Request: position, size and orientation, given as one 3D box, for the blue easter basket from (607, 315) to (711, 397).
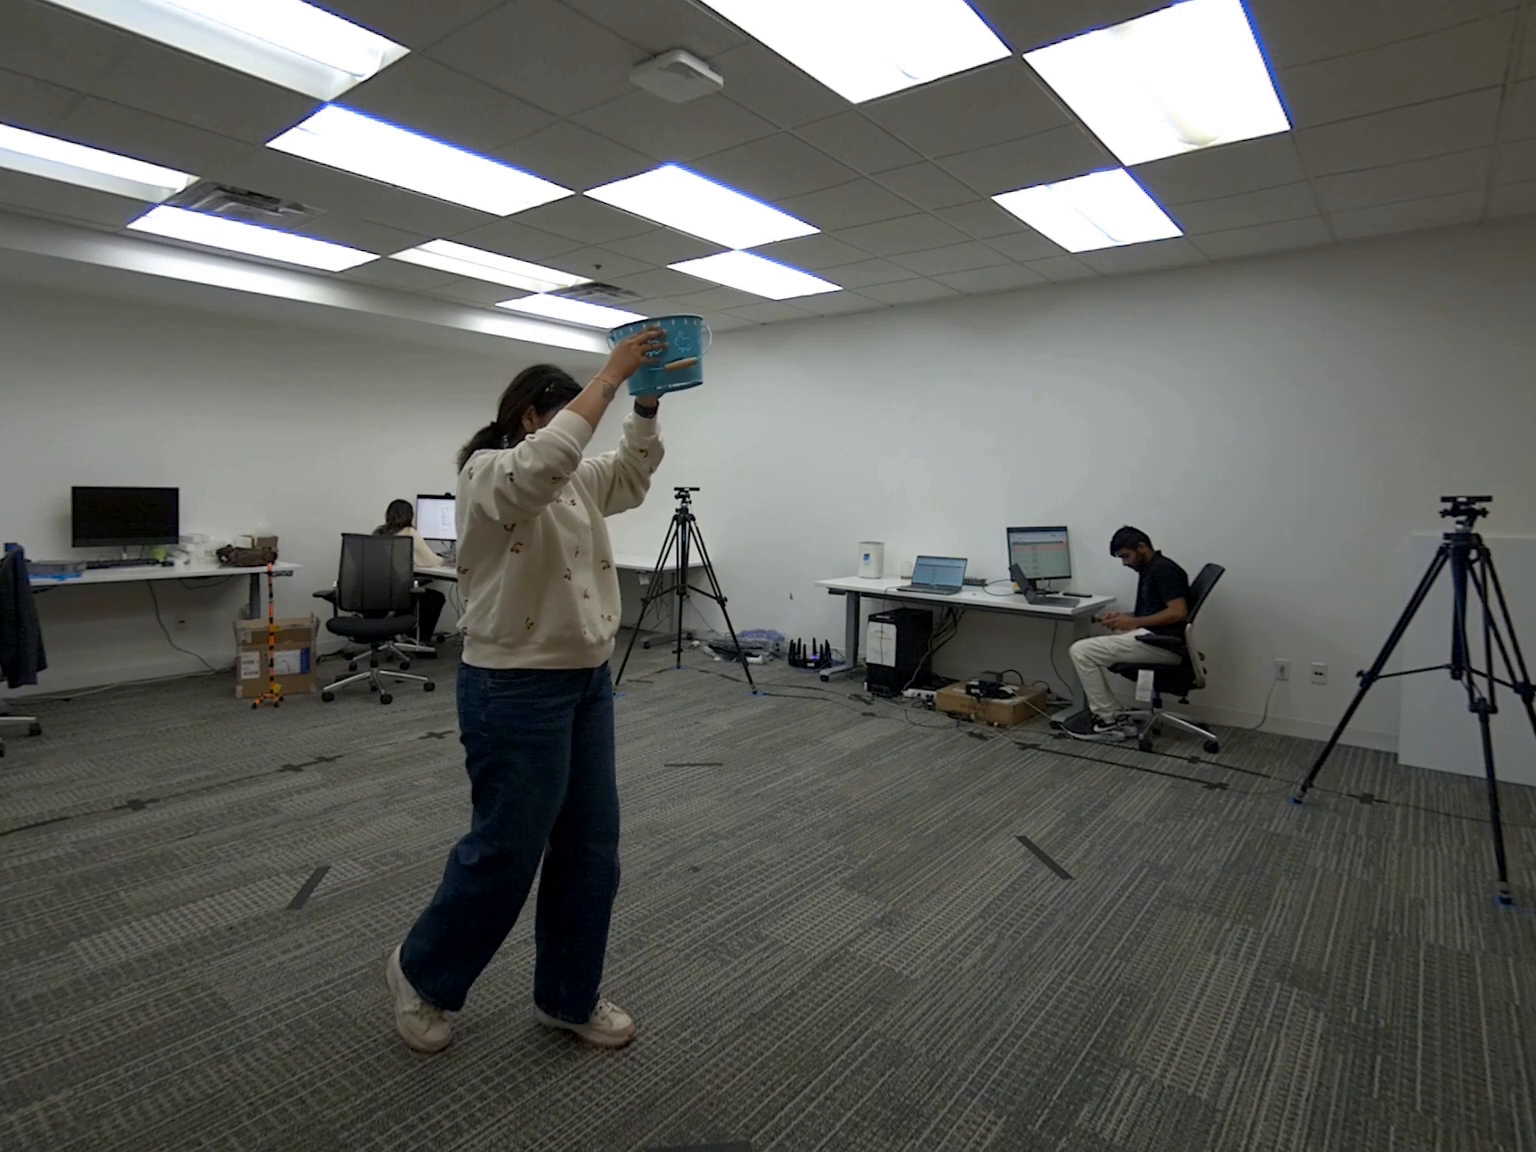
[{"bbox_3d":[-0.266,-0.524,2.020,0.243,0.155,0.244,-9,3,-1],"label":"blue easter basket"}]
